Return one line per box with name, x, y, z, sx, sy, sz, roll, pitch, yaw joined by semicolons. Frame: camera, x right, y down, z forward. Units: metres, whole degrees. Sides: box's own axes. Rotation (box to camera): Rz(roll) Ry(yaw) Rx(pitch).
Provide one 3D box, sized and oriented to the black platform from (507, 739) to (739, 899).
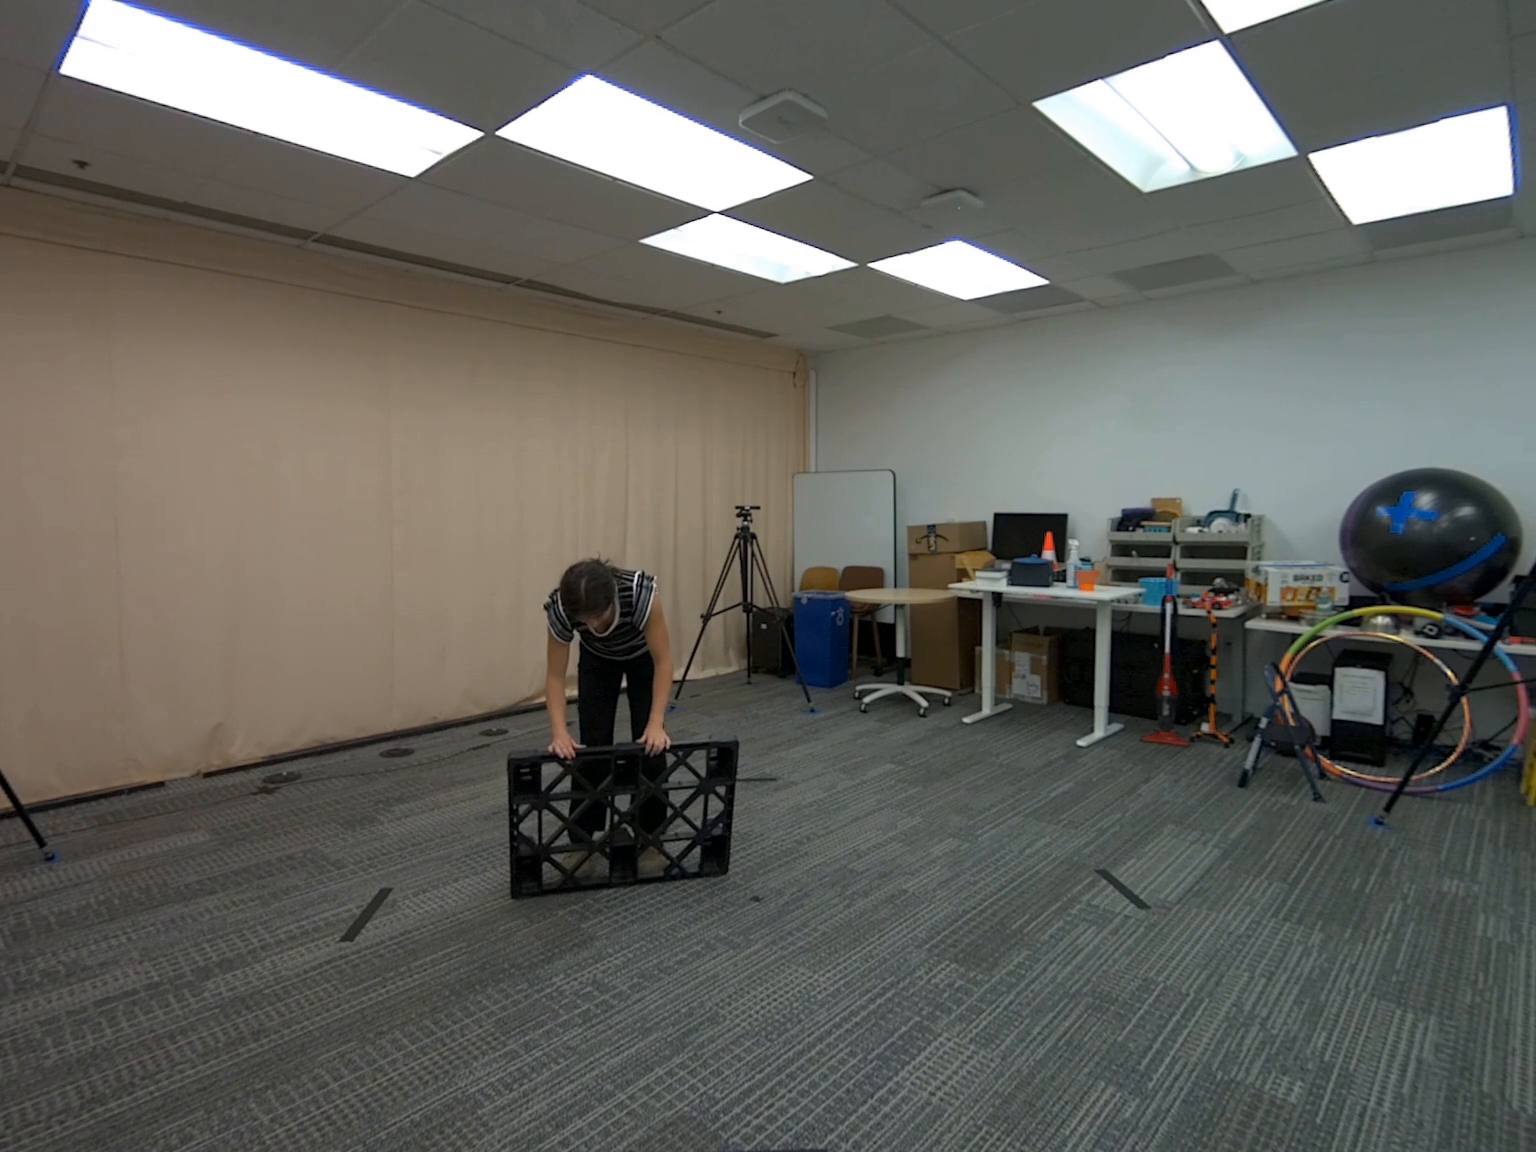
black platform;-0.524;0.837;3.031;0.794;0.599;0.147;-1;21;-14
